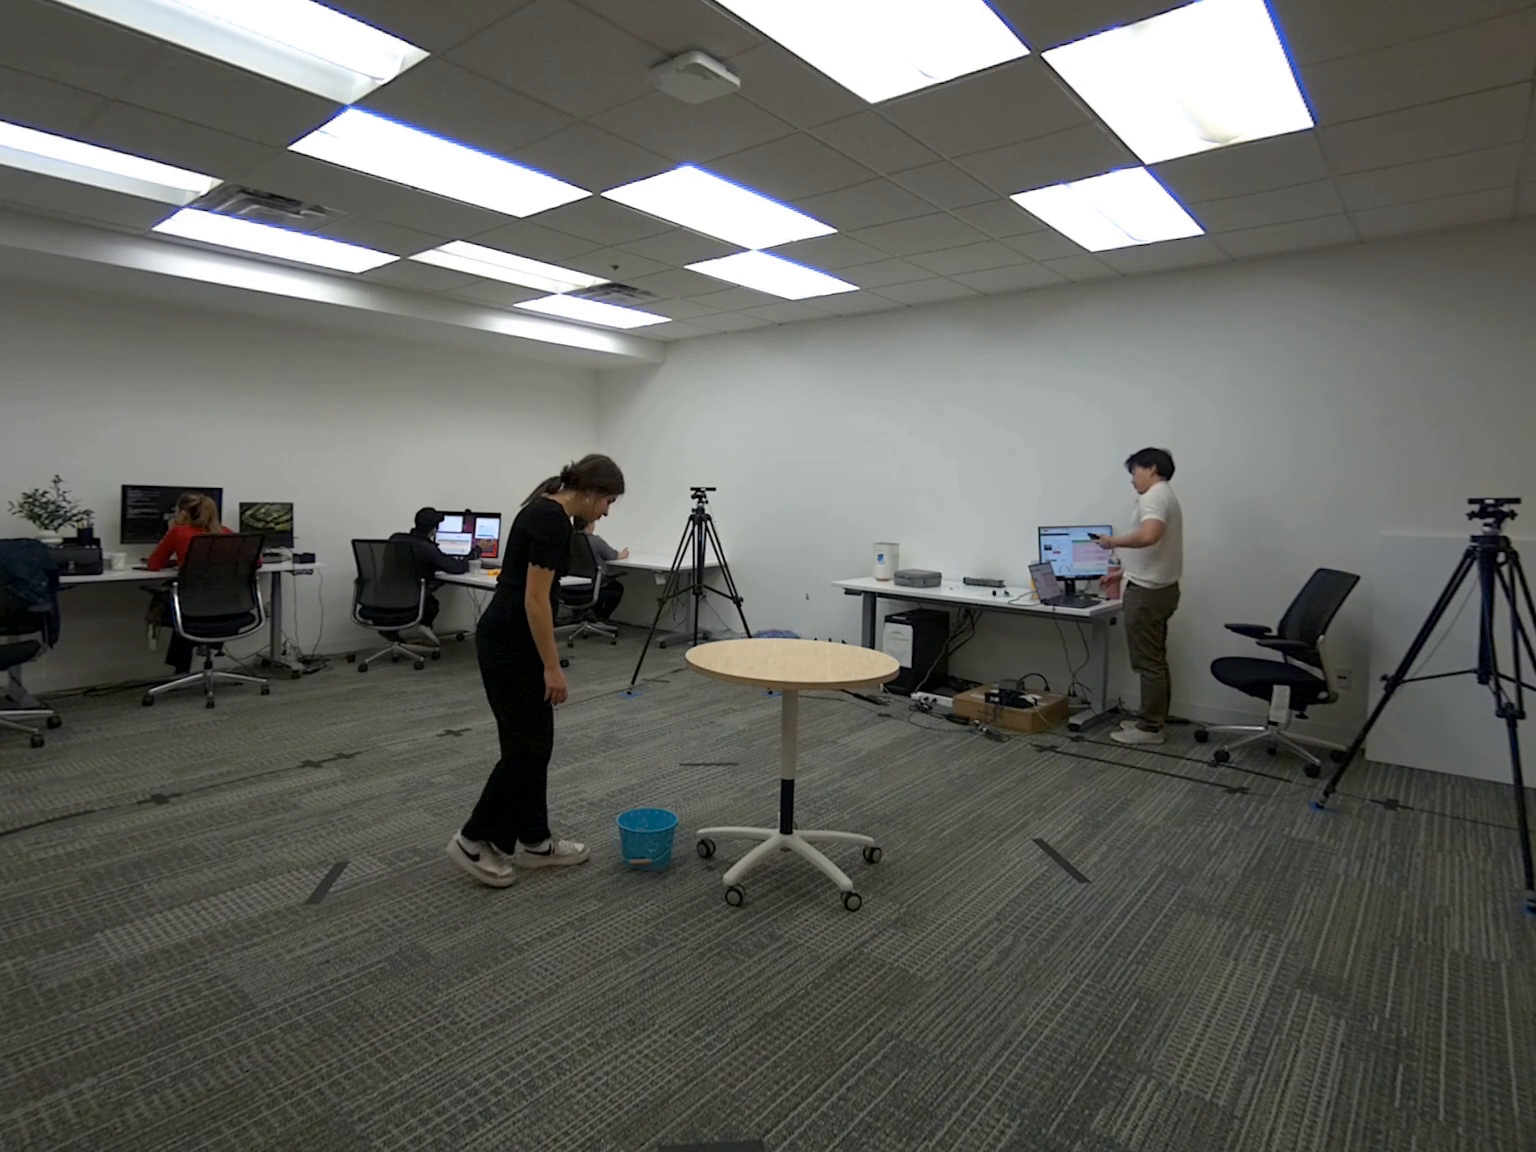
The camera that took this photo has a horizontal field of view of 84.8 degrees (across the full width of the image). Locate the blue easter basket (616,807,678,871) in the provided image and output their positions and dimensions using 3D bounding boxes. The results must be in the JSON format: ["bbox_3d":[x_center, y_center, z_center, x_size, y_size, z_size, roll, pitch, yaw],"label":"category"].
[{"bbox_3d":[-0.473,0.983,3.174,0.243,0.155,0.245,1,5,-2],"label":"blue easter basket"}]
